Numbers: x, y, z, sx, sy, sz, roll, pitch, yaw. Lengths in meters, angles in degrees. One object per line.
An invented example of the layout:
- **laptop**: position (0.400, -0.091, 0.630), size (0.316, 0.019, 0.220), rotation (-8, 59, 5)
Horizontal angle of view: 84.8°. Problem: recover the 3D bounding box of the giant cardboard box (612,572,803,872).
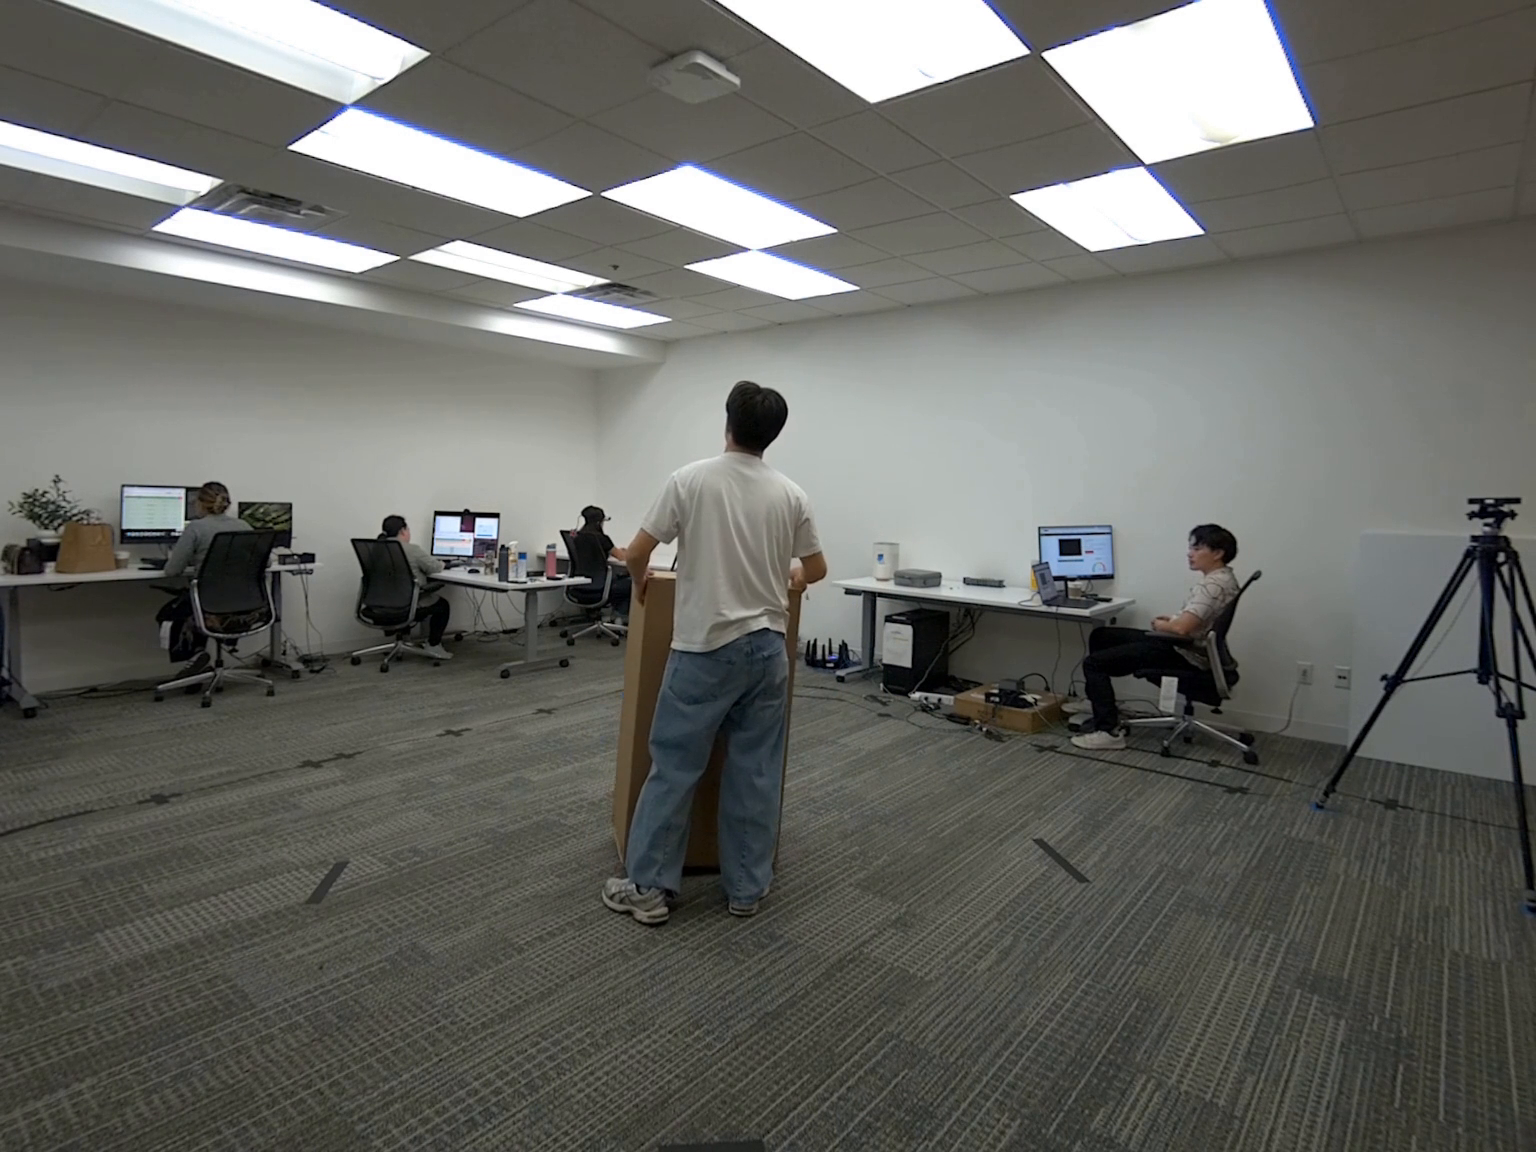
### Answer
- **giant cardboard box**: position (-0.249, 0.518, 3.244), size (0.570, 1.025, 0.432), rotation (4, 1, -12)
